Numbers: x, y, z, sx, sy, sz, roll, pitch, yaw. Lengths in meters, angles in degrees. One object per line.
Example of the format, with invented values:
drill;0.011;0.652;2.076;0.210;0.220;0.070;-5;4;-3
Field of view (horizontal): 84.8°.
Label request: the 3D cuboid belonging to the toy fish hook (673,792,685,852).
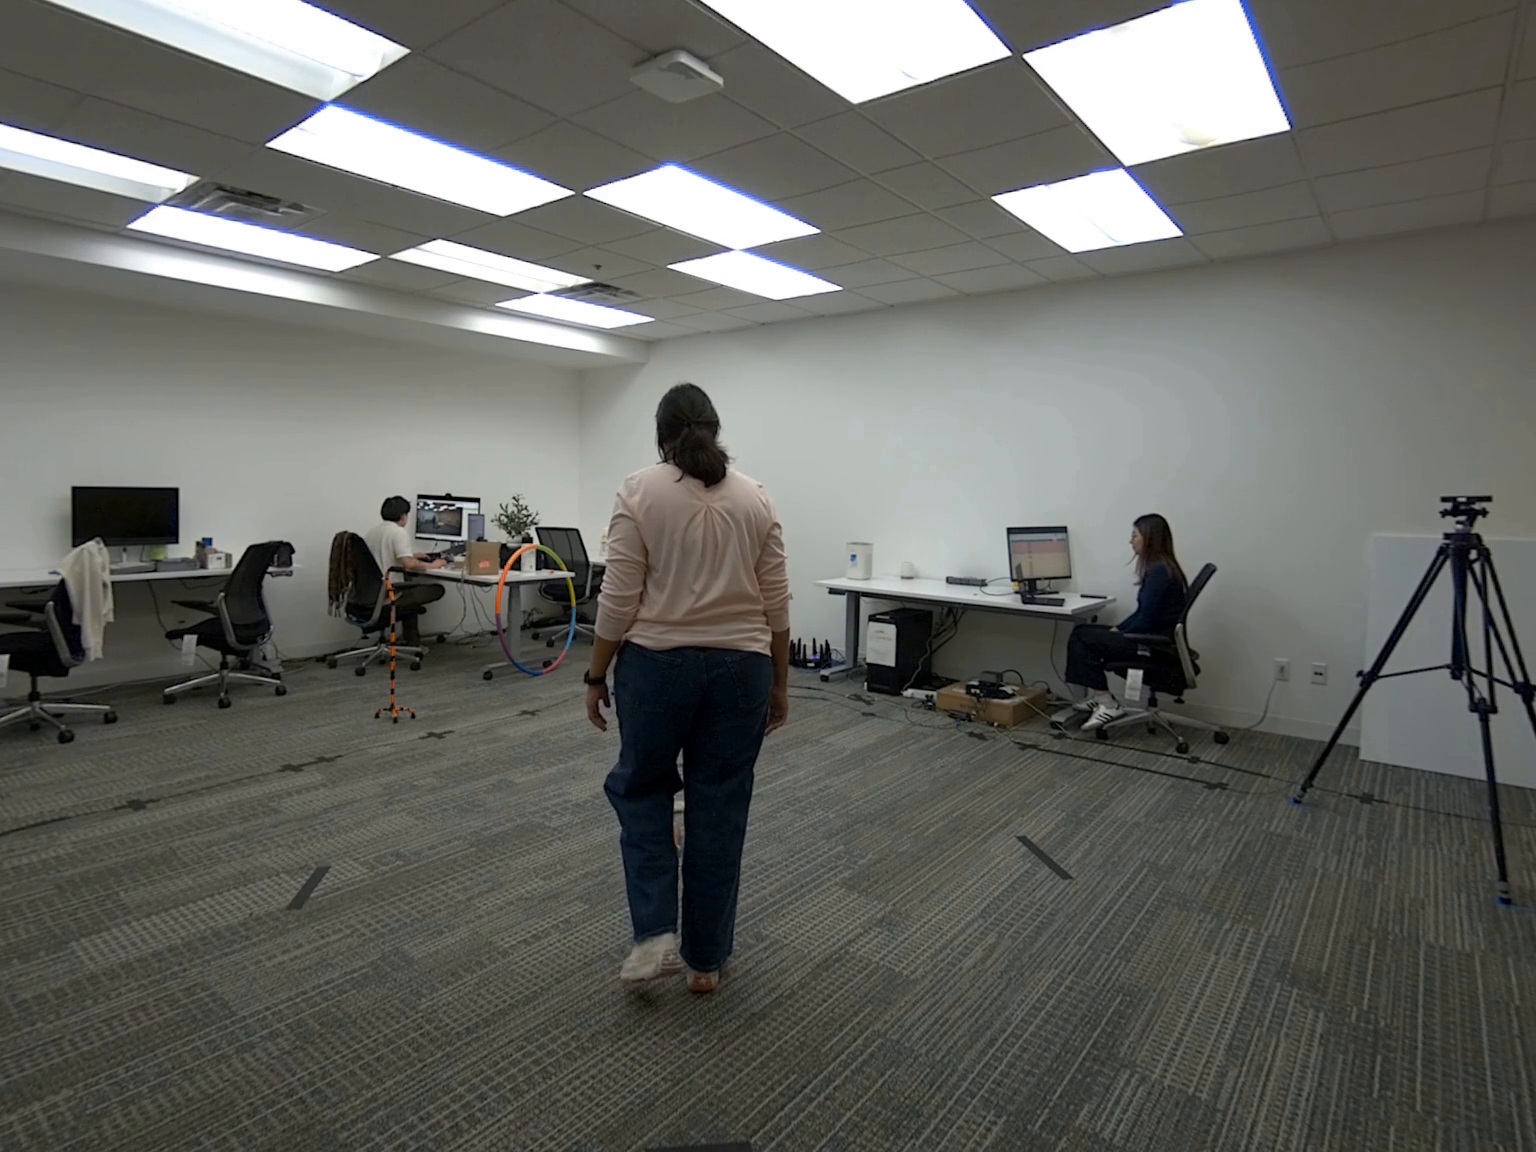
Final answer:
toy fish hook;-0.341;1.006;3.462;0.223;0.048;0.512;-1;5;-8
